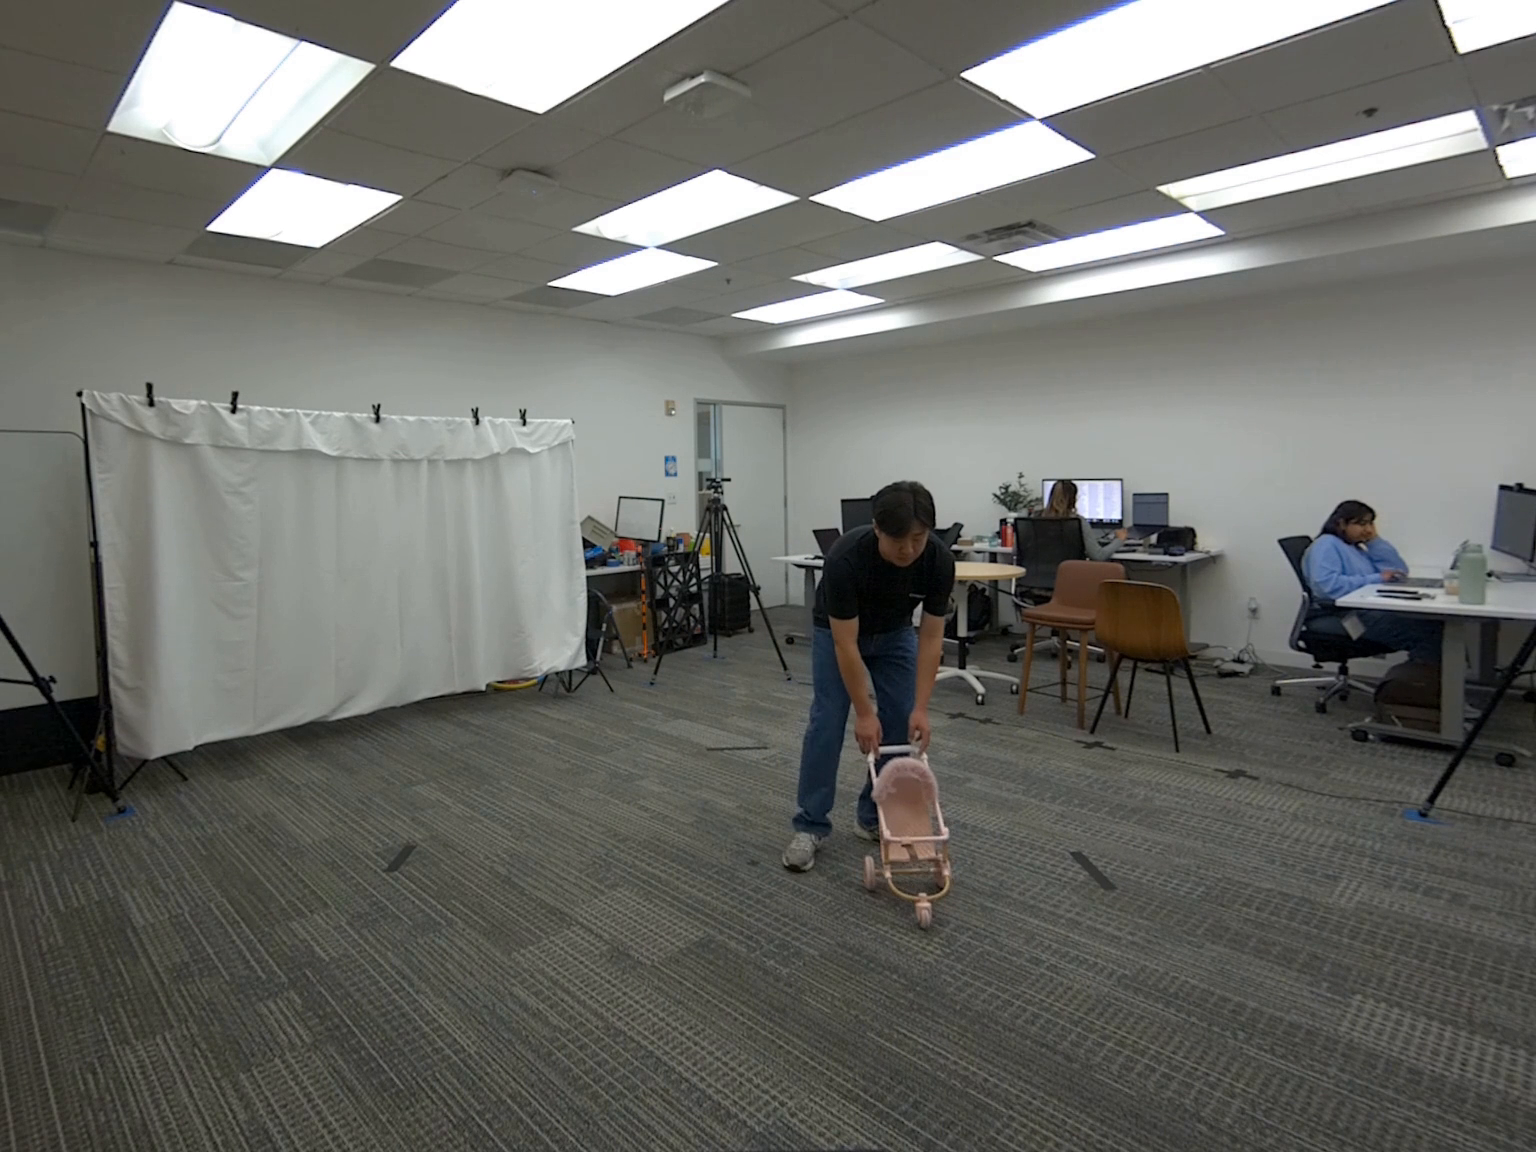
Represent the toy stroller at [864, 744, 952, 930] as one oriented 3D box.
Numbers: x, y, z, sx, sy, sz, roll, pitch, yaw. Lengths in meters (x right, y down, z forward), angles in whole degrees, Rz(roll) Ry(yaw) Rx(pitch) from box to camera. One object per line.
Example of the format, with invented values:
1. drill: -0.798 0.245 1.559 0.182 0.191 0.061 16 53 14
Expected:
1. toy stroller: 0.464 0.840 2.817 0.282 0.541 0.337 -2 -11 2
